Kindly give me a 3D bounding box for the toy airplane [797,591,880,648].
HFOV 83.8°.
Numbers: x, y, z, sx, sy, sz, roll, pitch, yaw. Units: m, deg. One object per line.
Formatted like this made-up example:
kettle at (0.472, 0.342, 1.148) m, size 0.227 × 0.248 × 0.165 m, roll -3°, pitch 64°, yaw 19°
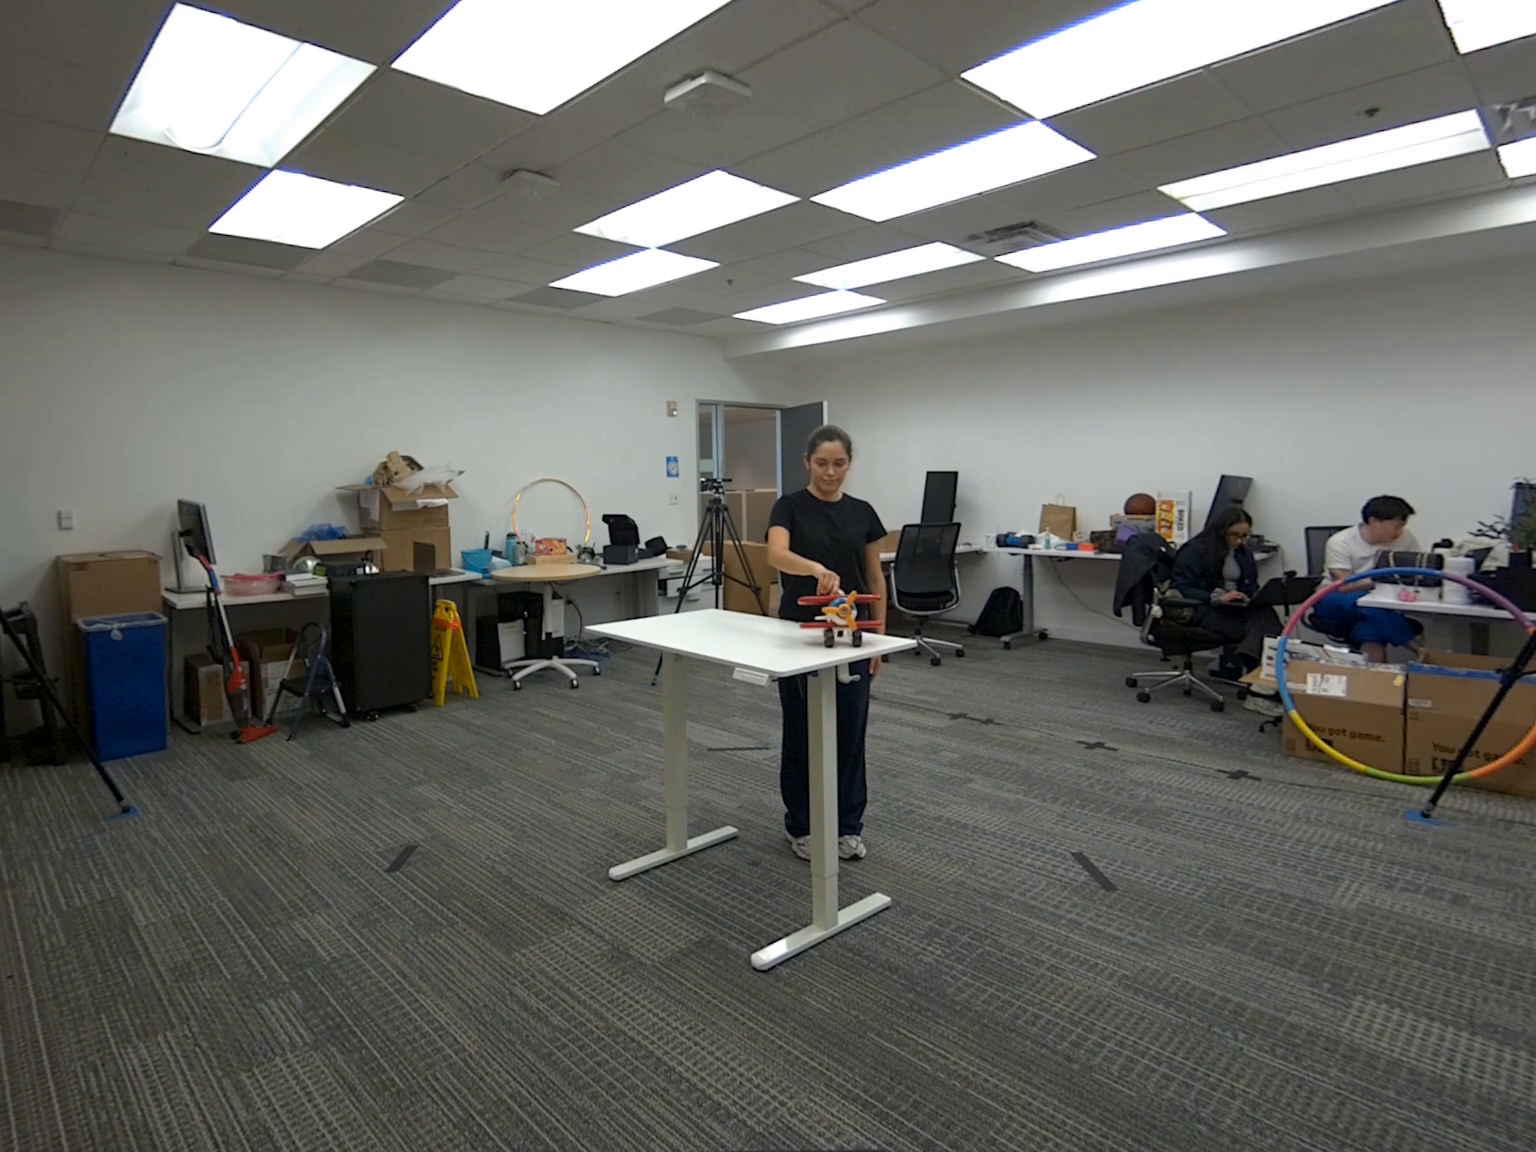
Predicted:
toy airplane at (0.202, 0.131, 2.688) m, size 0.245 × 0.155 × 0.267 m, roll -5°, pitch 9°, yaw -30°
